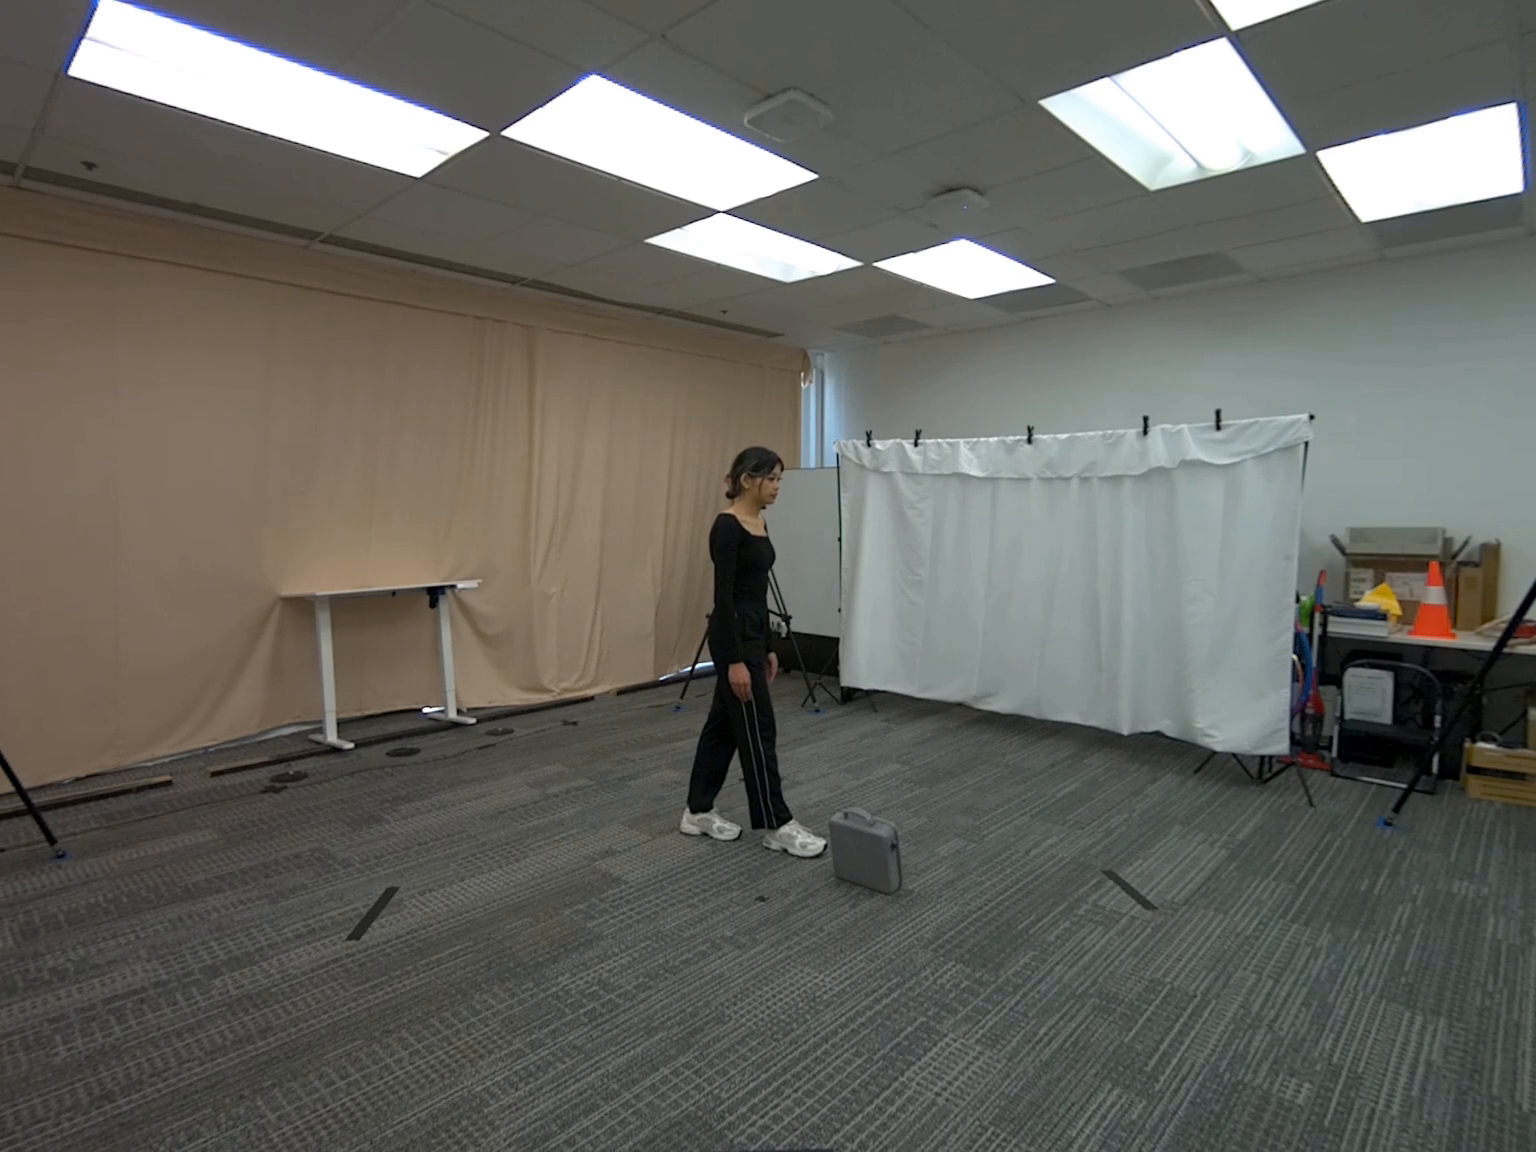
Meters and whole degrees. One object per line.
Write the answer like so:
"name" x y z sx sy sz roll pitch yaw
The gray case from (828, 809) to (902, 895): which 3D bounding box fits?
"gray case" 0.362 0.999 3.078 0.265 0.258 0.102 3 16 41
